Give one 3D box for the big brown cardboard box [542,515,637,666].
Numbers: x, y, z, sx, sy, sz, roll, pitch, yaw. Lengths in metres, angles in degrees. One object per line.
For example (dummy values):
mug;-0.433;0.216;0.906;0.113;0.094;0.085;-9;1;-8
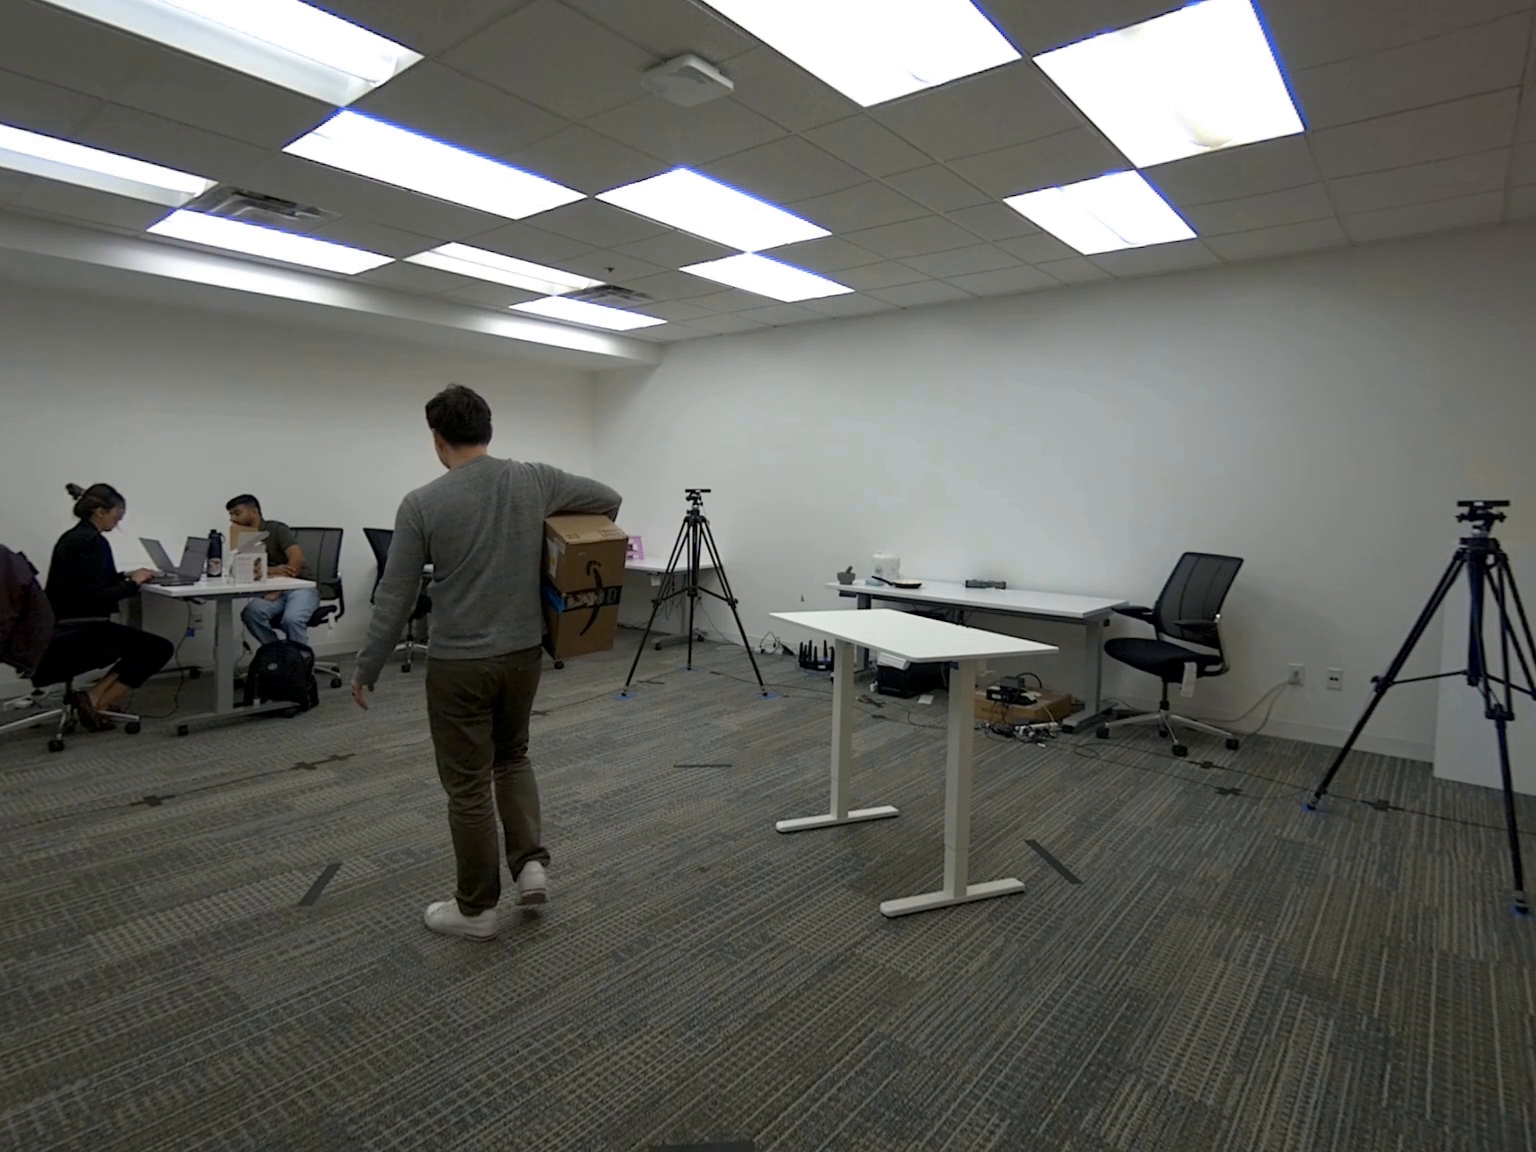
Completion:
big brown cardboard box;-0.722;-0.049;2.861;0.227;0.411;0.614;-8;30;-37
